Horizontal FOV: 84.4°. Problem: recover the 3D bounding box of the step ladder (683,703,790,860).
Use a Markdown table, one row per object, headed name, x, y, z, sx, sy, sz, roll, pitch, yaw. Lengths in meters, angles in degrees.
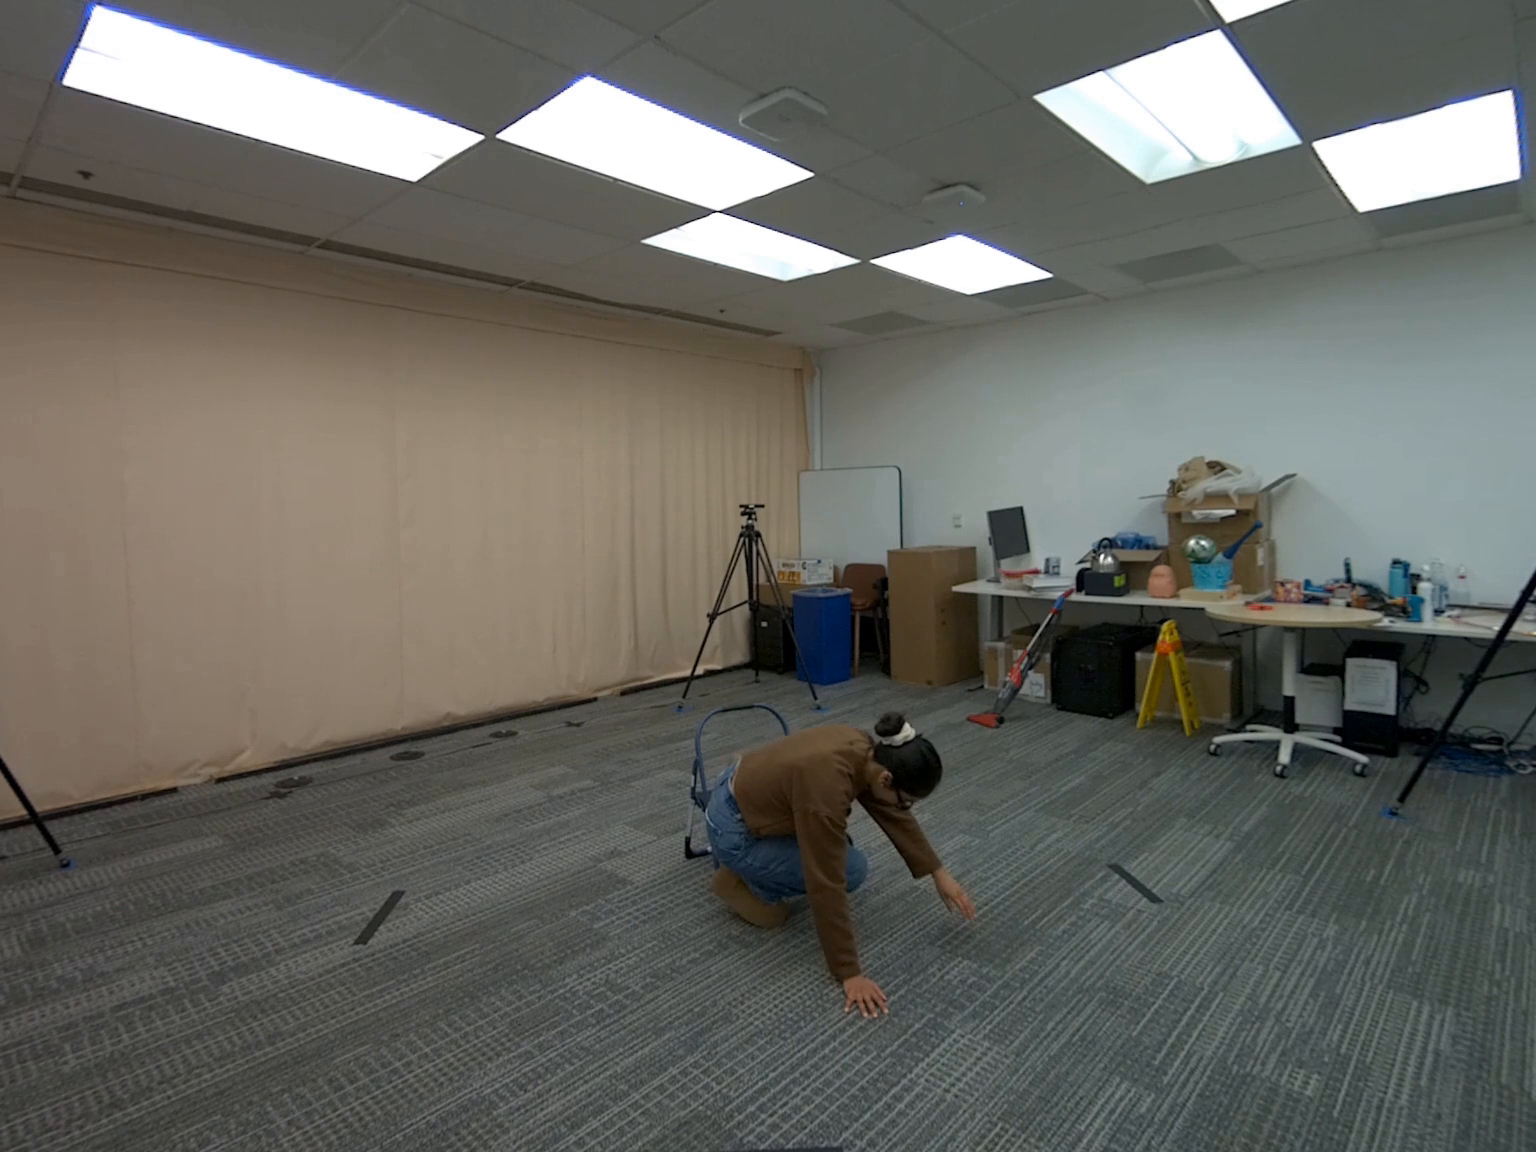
| name | x | y | z | sx | sy | sz | roll | pitch | yaw |
| --- | --- | --- | --- | --- | --- | --- | --- | --- | --- |
| step ladder | -0.074 | 0.814 | 3.257 | 0.420 | 0.605 | 0.359 | -3 | 4 | -27 |
